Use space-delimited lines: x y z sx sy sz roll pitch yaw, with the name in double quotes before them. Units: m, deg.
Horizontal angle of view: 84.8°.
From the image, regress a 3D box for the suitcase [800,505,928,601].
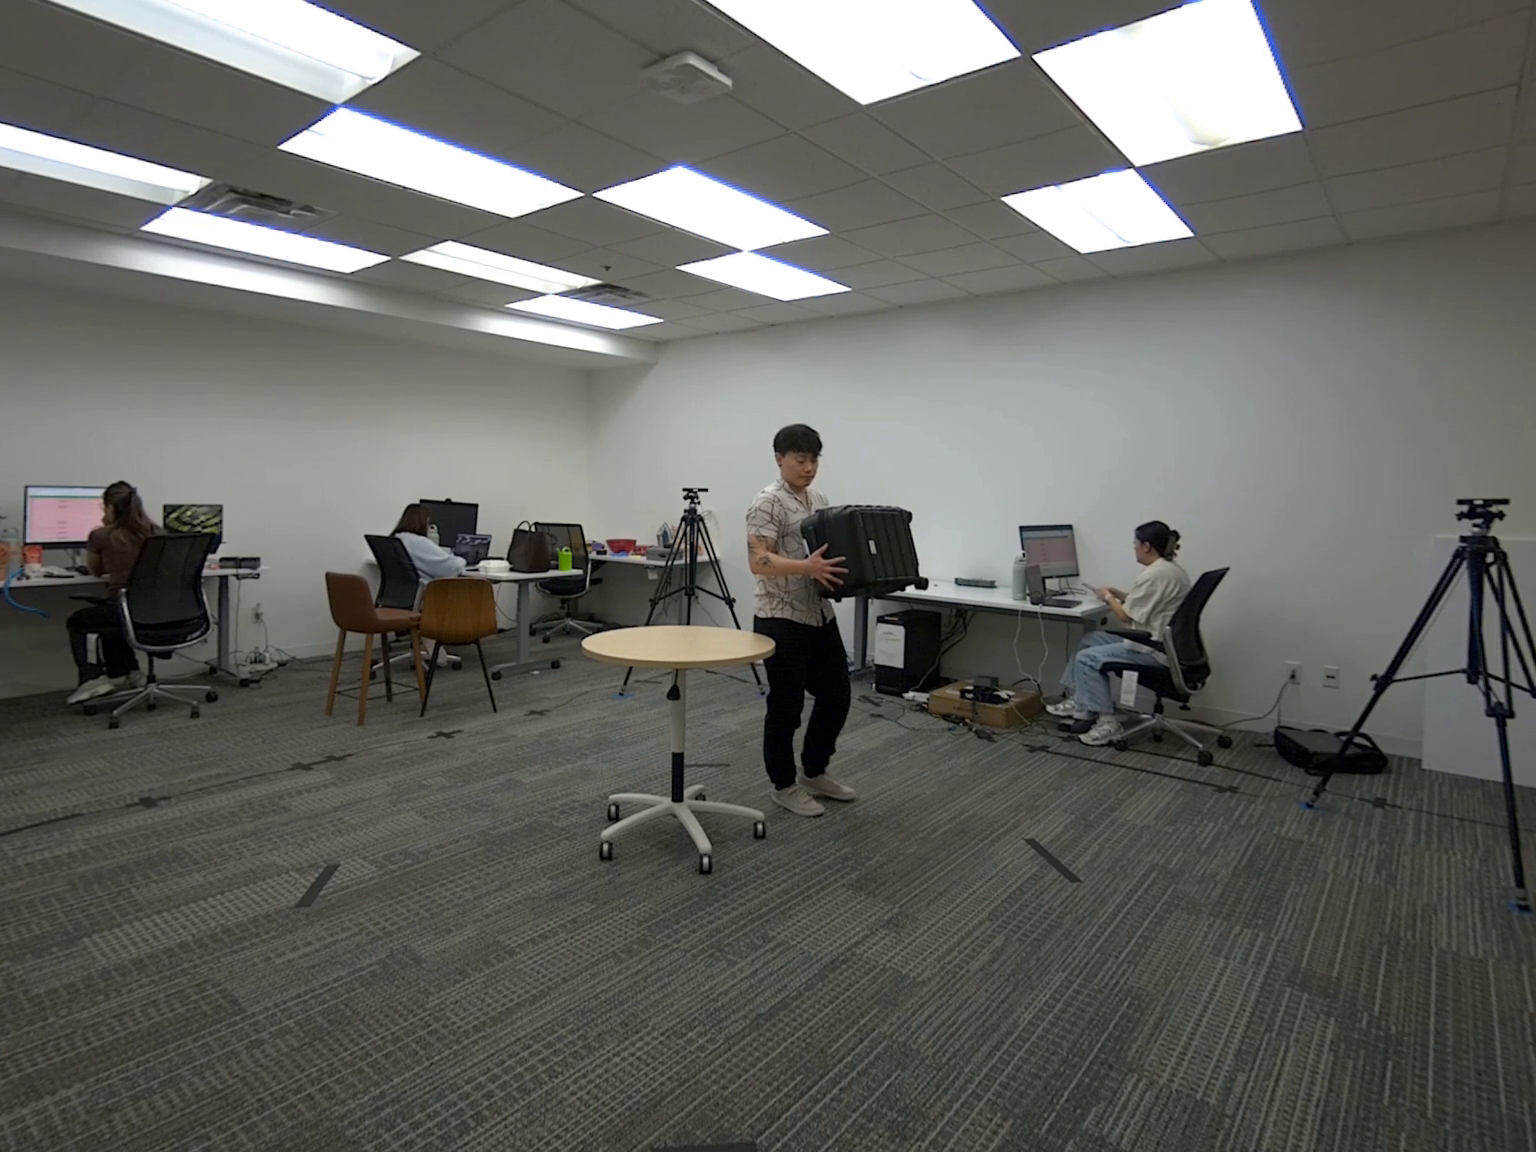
"suitcase" 0.382 -0.108 3.504 0.253 0.380 0.532 -18 -11 38
